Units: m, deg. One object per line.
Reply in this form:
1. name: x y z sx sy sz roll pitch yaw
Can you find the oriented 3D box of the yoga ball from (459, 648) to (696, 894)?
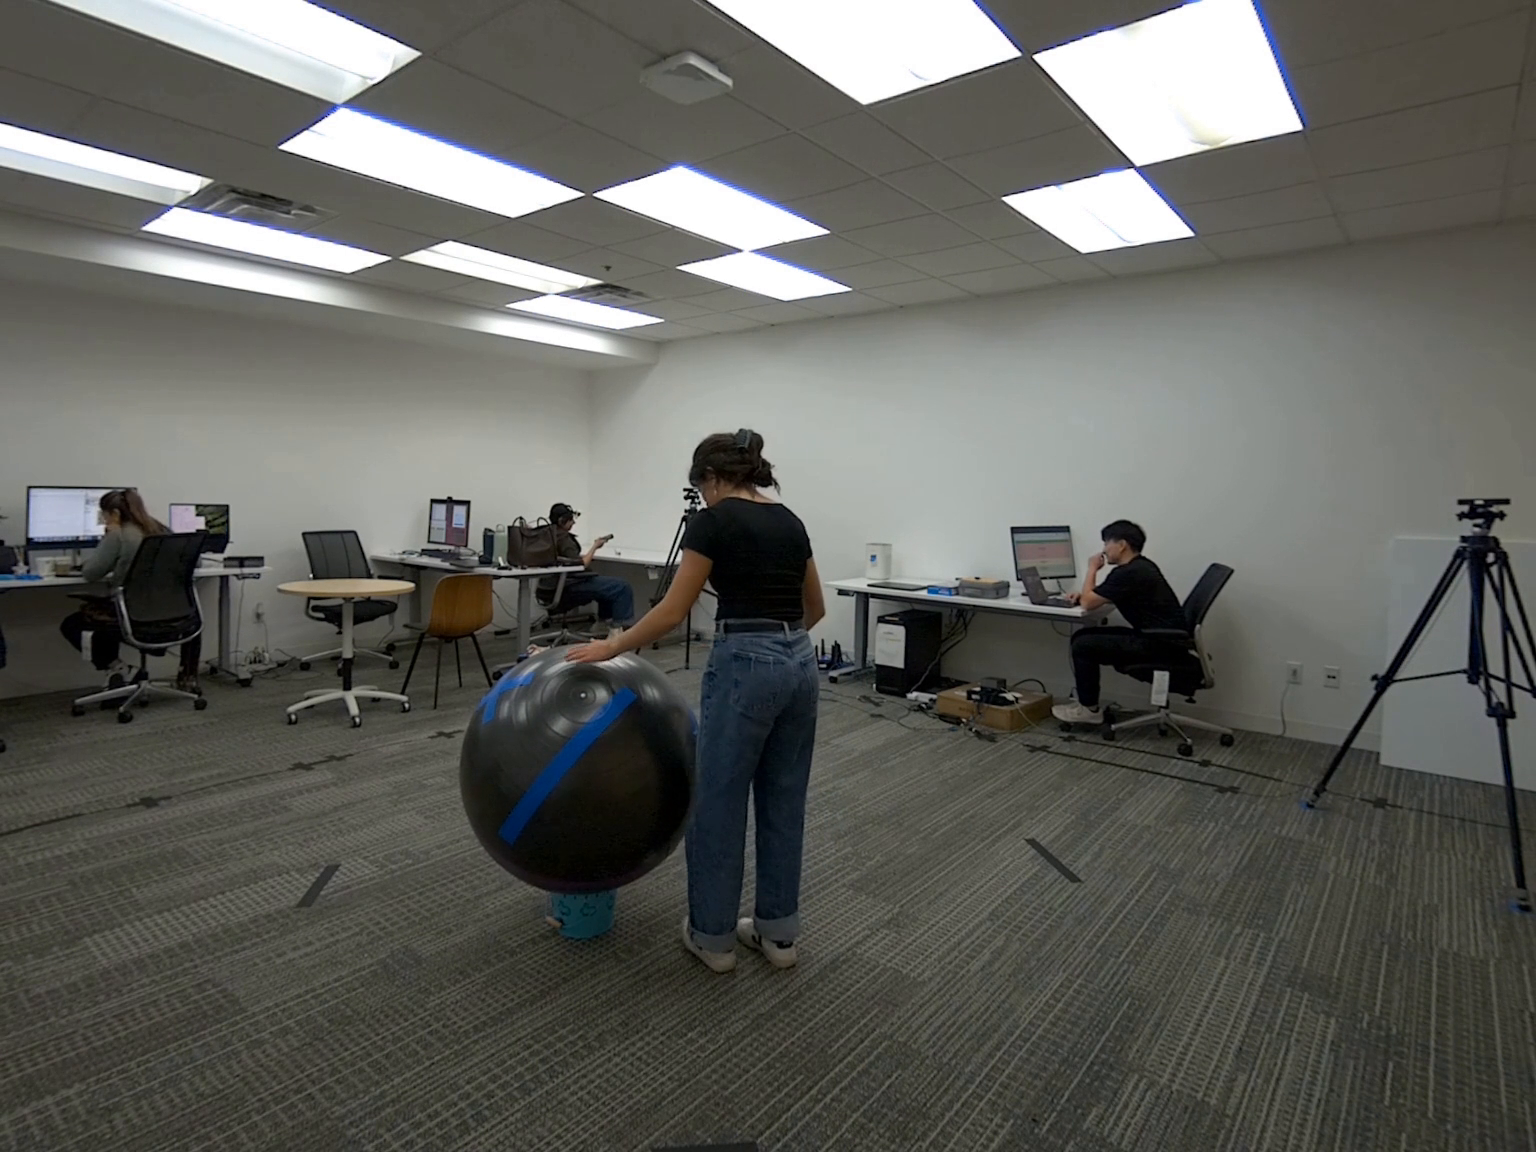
1. yoga ball: -0.589 0.602 2.668 0.757 0.755 0.762 1 4 -2
